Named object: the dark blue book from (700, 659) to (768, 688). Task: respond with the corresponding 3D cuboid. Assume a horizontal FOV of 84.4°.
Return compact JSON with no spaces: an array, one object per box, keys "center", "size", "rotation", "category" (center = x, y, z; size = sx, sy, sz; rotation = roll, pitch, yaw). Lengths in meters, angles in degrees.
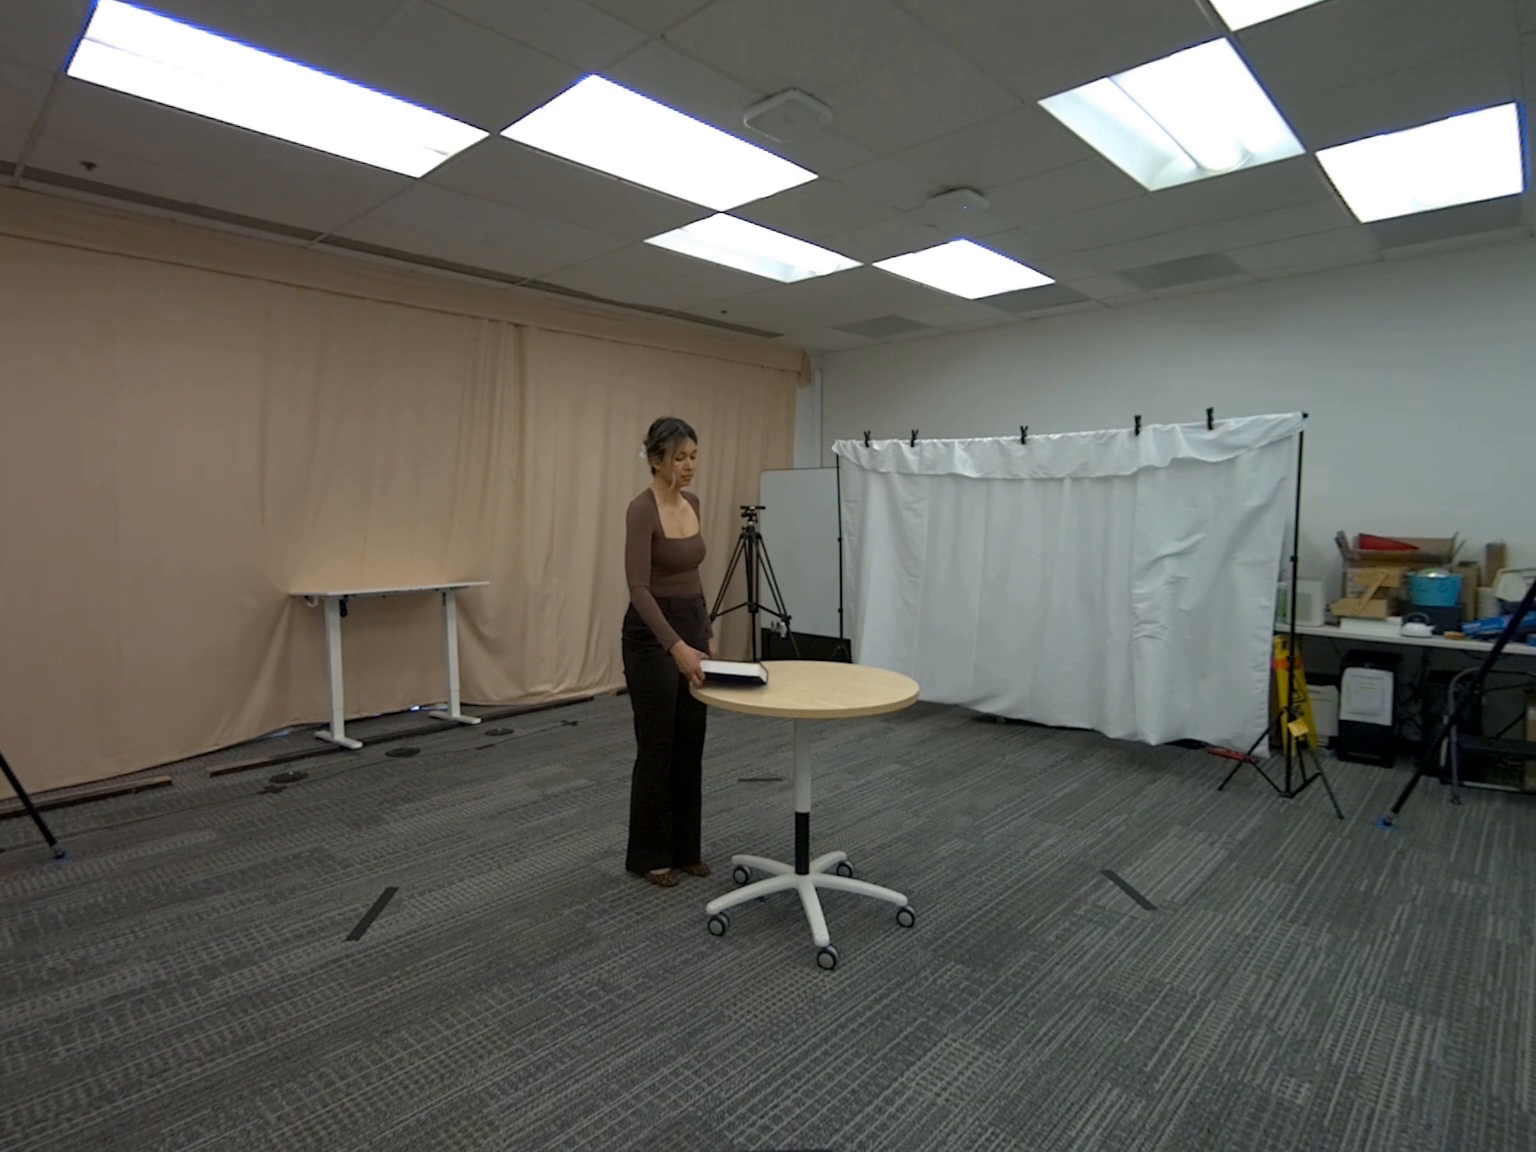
[{"center":[-0.129,0.316,2.777],"size":[0.249,0.045,0.160],"rotation":[2,-16,13],"category":"dark blue book"}]
